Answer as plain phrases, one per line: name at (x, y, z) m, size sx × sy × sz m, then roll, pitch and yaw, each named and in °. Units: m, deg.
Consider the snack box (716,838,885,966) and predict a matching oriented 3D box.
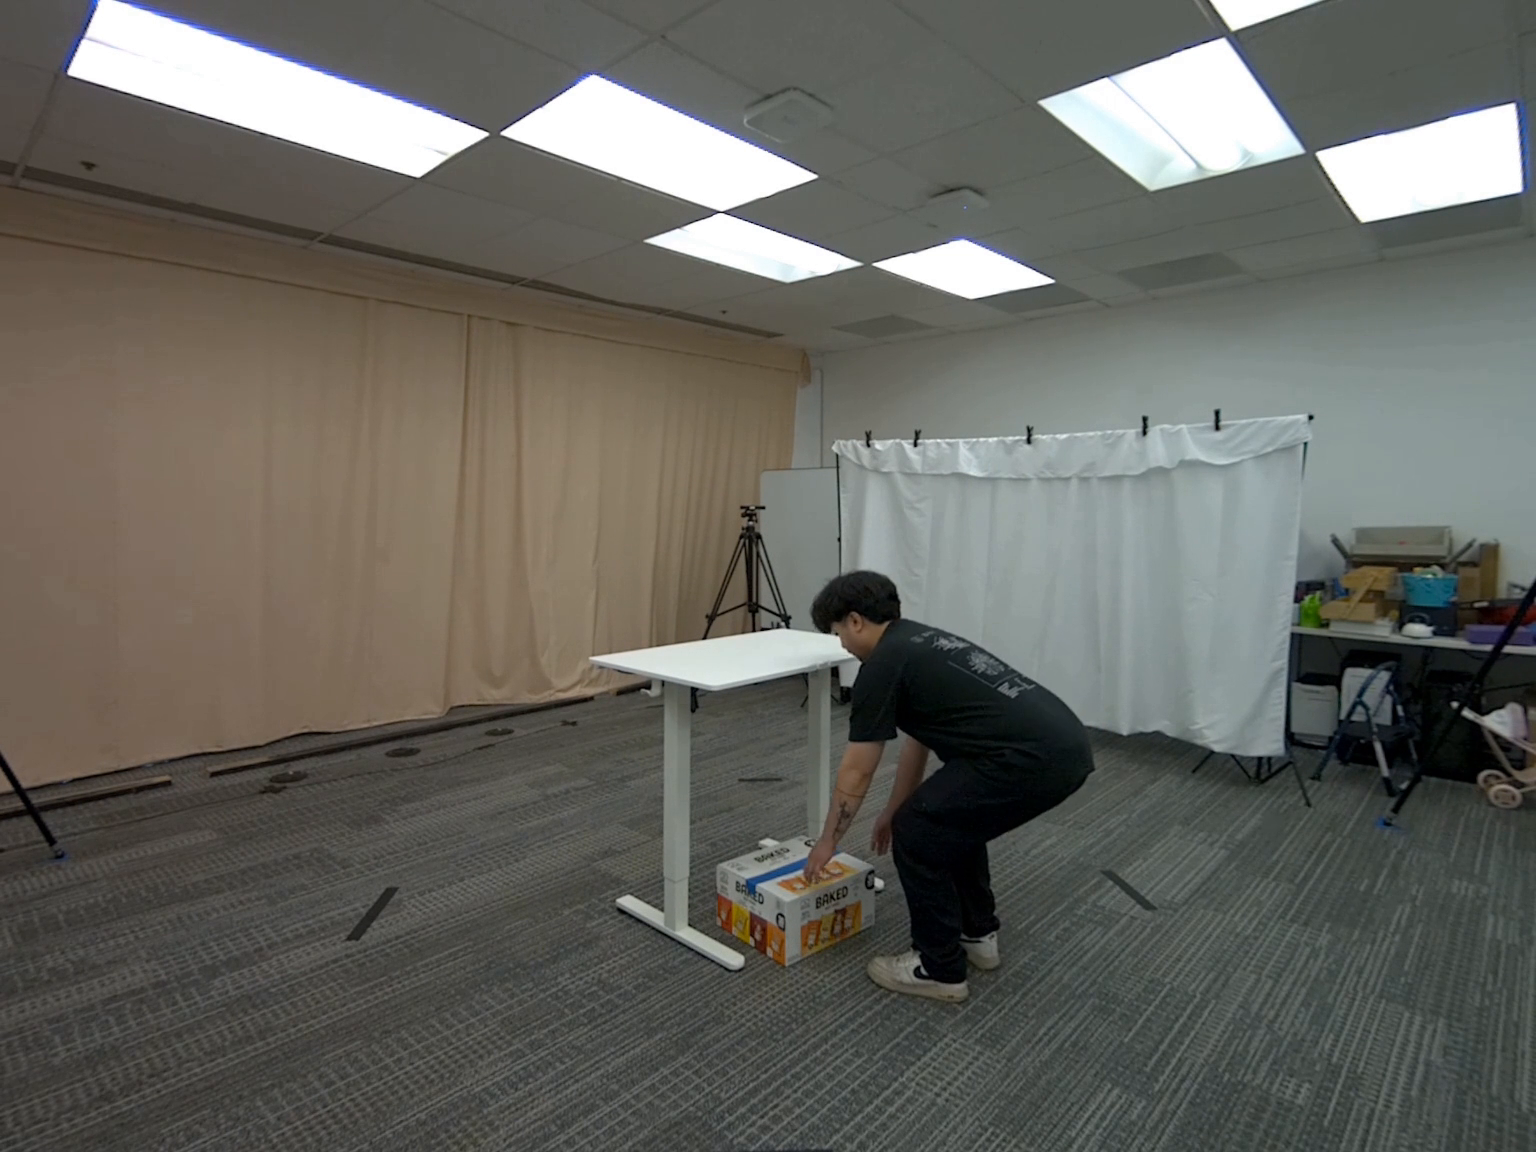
snack box at (0.093, 1.061, 2.786) m, size 0.393 × 0.205 × 0.352 m, roll -4°, pitch 6°, yaw -41°
